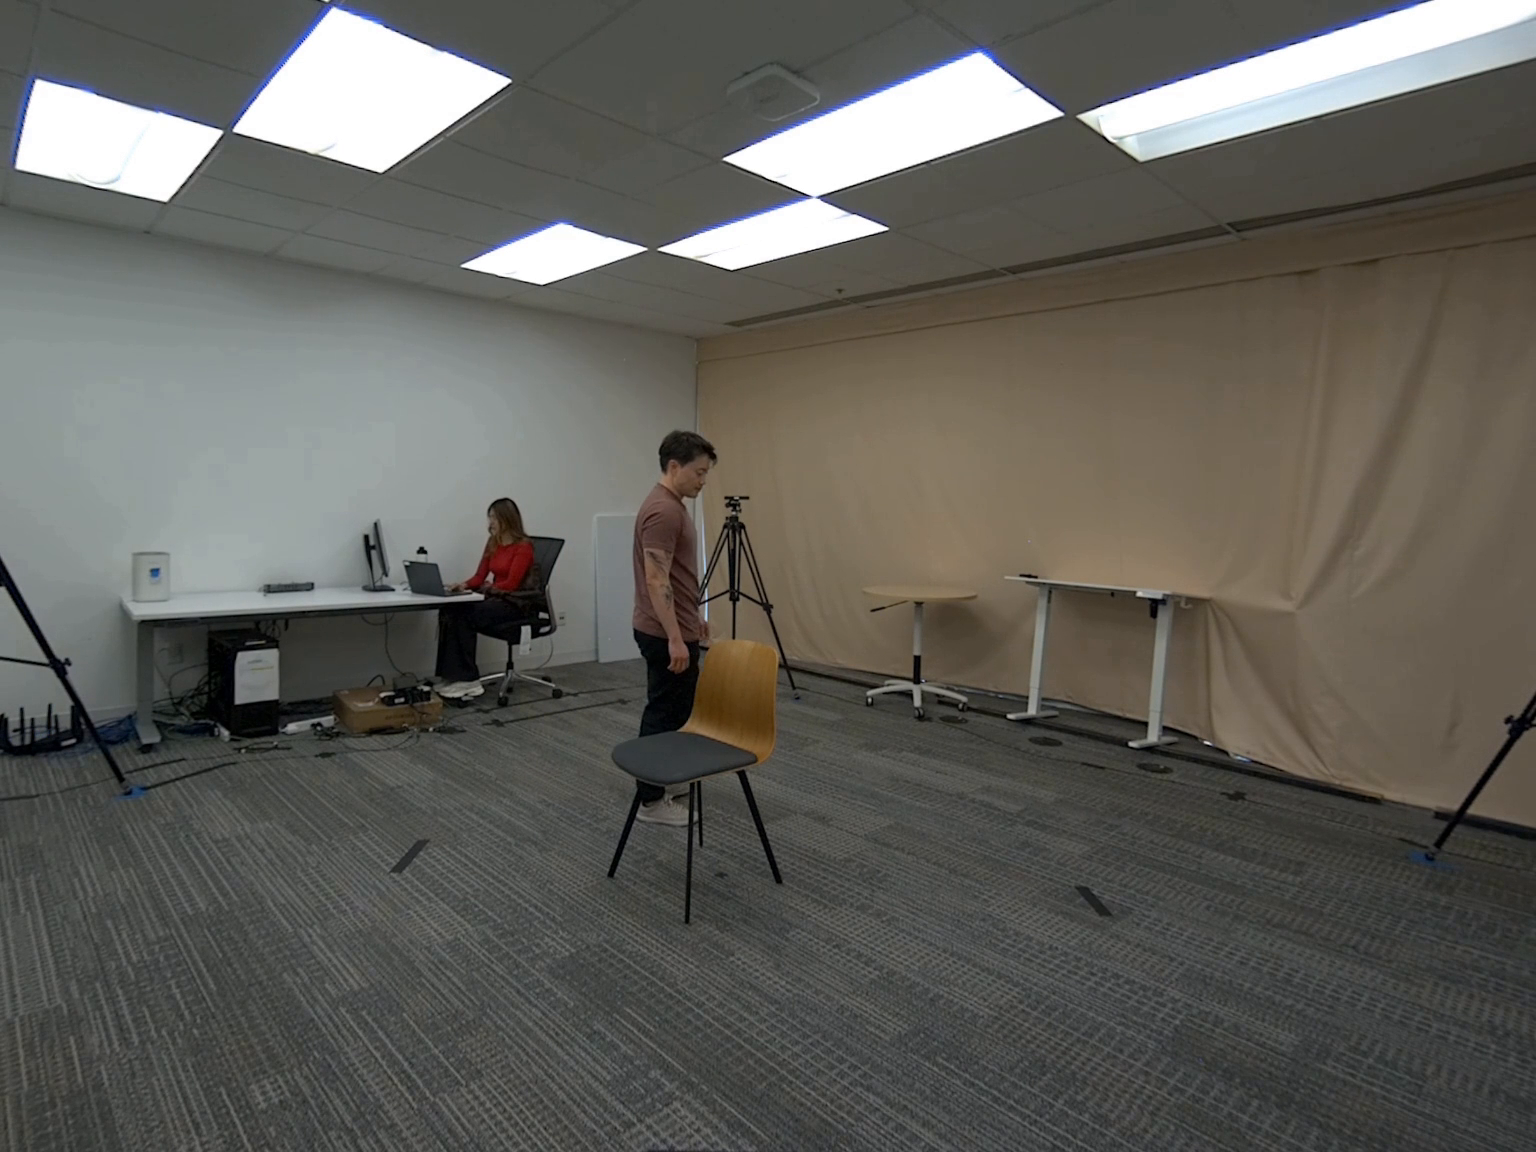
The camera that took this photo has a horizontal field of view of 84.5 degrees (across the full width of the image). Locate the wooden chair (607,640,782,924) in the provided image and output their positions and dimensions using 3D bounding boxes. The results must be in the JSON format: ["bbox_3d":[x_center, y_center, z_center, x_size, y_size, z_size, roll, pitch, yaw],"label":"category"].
[{"bbox_3d":[-0.263,0.683,3.014,0.510,0.877,0.490,4,1,-45],"label":"wooden chair"}]
